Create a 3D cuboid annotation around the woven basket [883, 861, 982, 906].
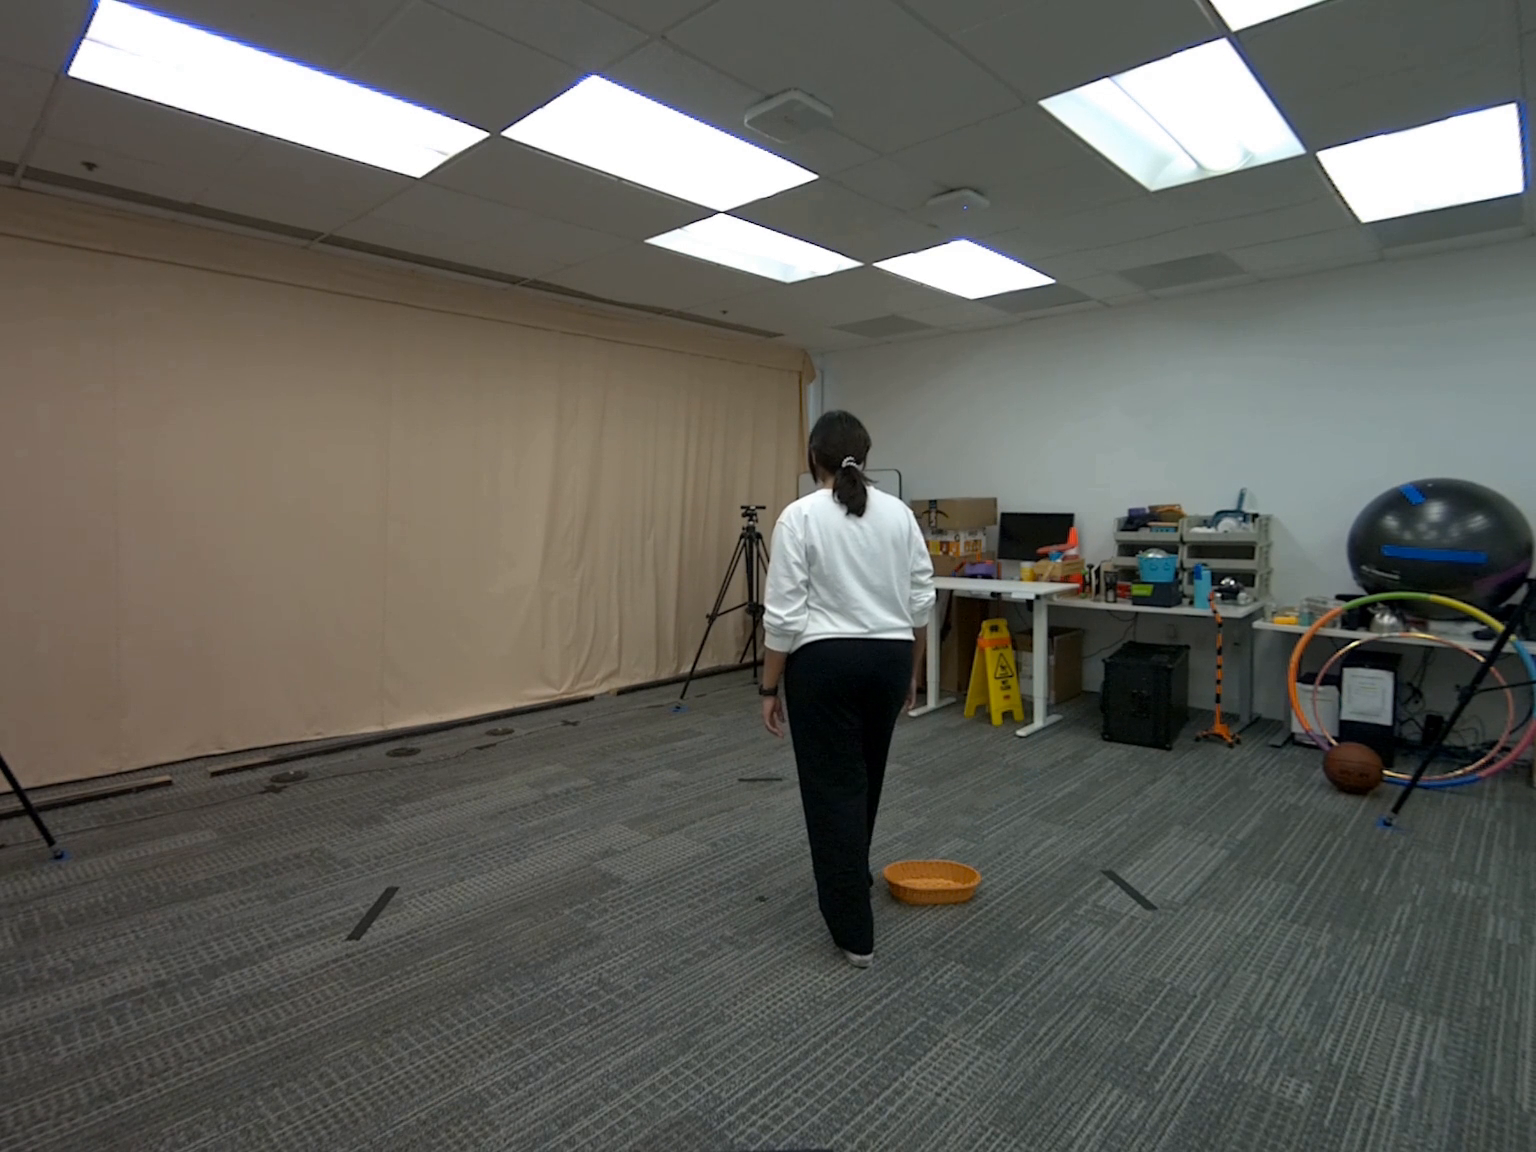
[{"bbox_3d":[0.589,1.100,3.017,0.351,0.073,0.253,-1,3,0],"label":"woven basket"}]
